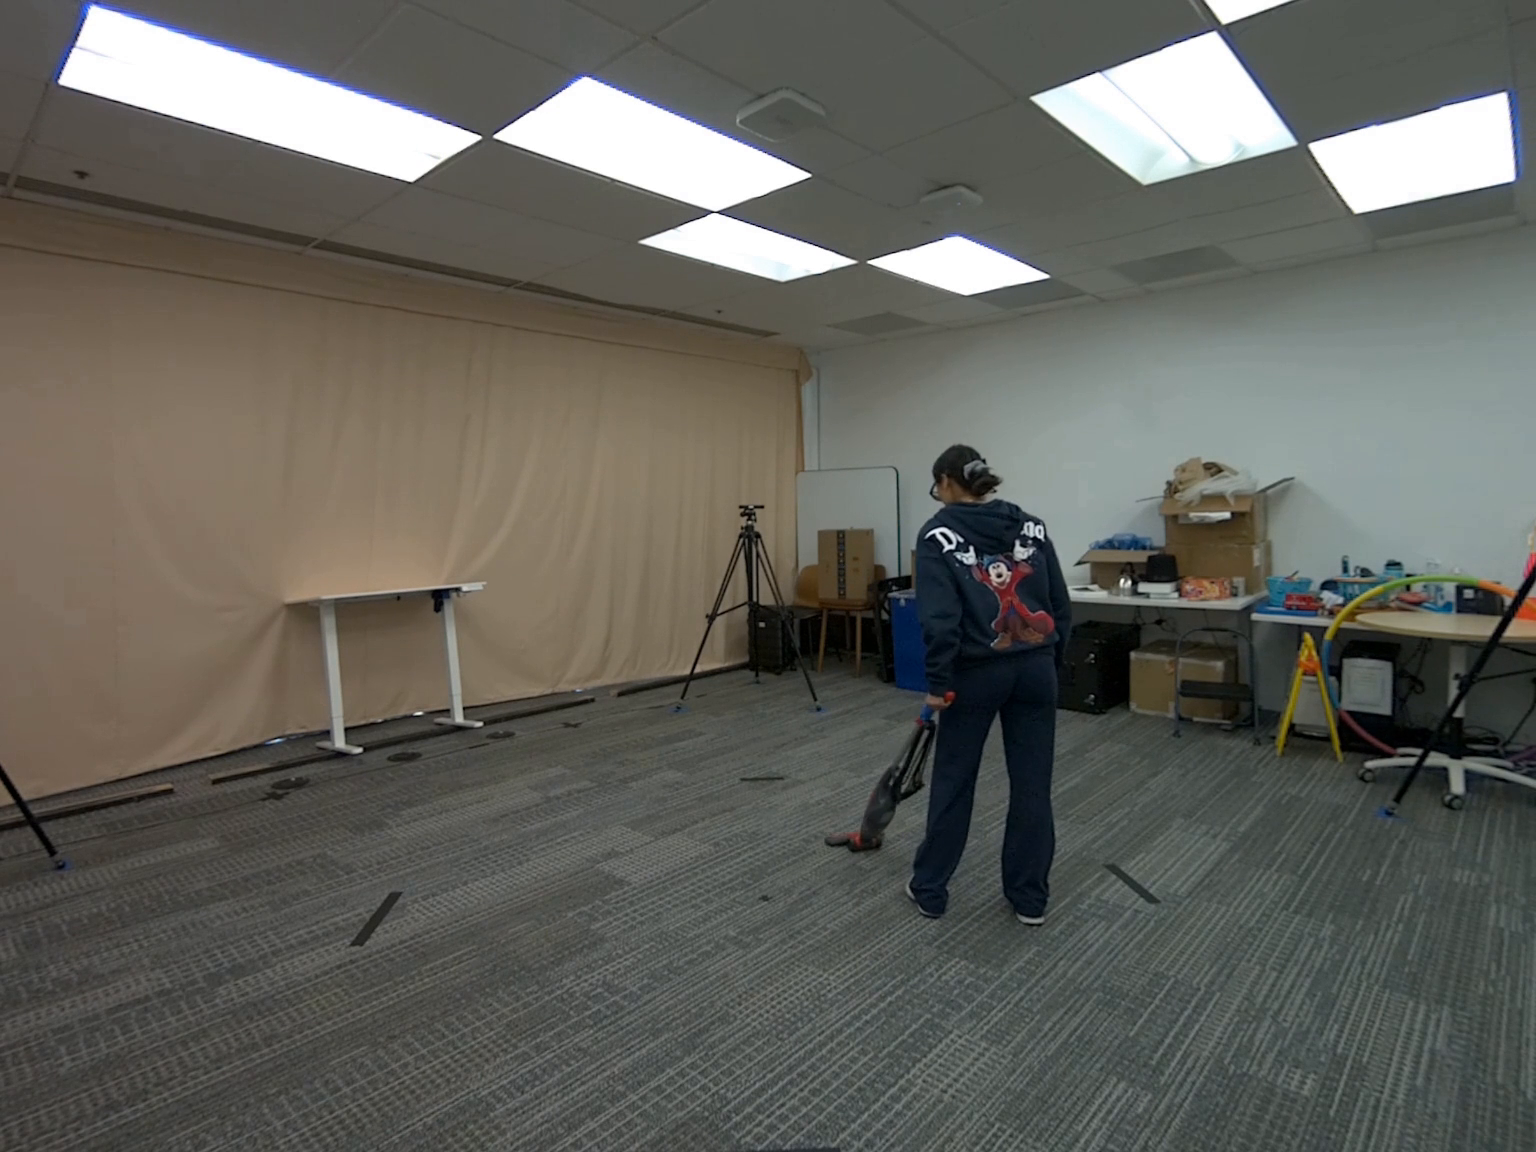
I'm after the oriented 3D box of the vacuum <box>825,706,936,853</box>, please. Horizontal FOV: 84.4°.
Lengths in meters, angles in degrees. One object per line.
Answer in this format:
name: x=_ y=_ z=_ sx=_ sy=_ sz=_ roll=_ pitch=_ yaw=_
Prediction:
vacuum: x=0.472 y=0.737 z=3.092 sx=0.248 sy=1.037 sz=0.148 roll=-6 pitch=49 yaw=-19
